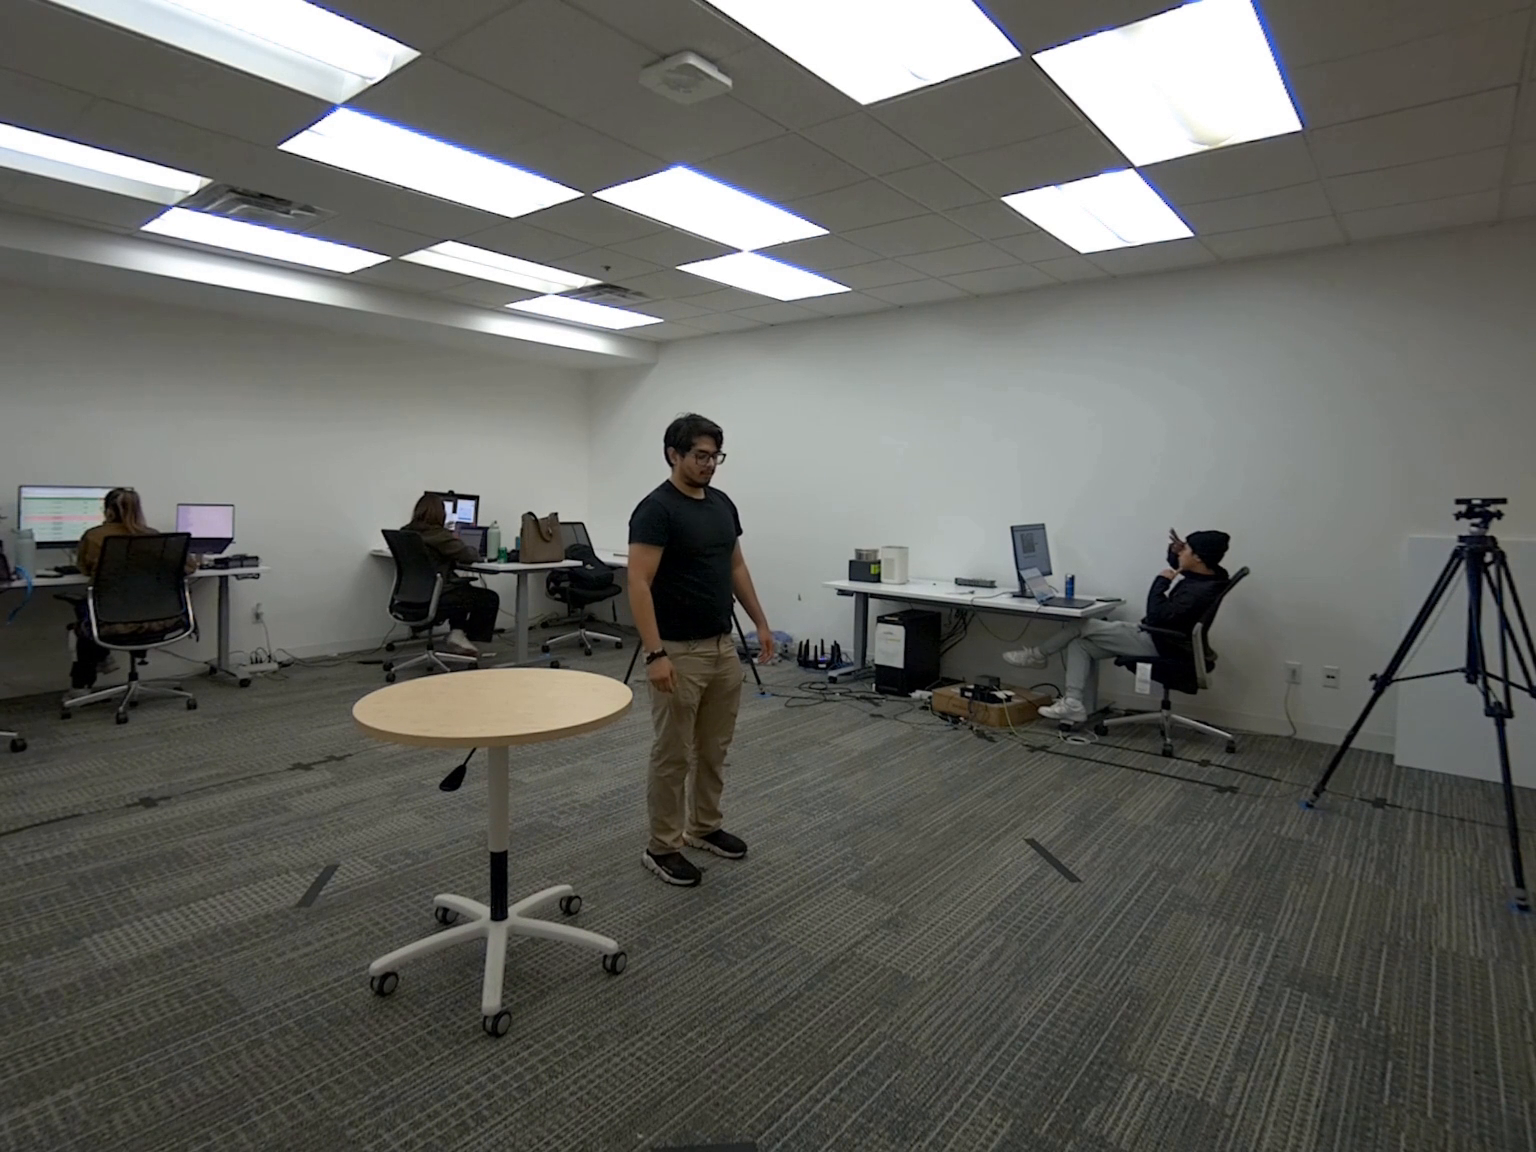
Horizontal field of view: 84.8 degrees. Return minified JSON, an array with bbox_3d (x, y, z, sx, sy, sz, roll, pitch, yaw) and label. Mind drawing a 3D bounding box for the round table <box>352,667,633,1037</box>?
[{"bbox_3d":[-0.766,0.732,2.443,0.784,0.784,0.789,0,5,-2],"label":"round table"}]
